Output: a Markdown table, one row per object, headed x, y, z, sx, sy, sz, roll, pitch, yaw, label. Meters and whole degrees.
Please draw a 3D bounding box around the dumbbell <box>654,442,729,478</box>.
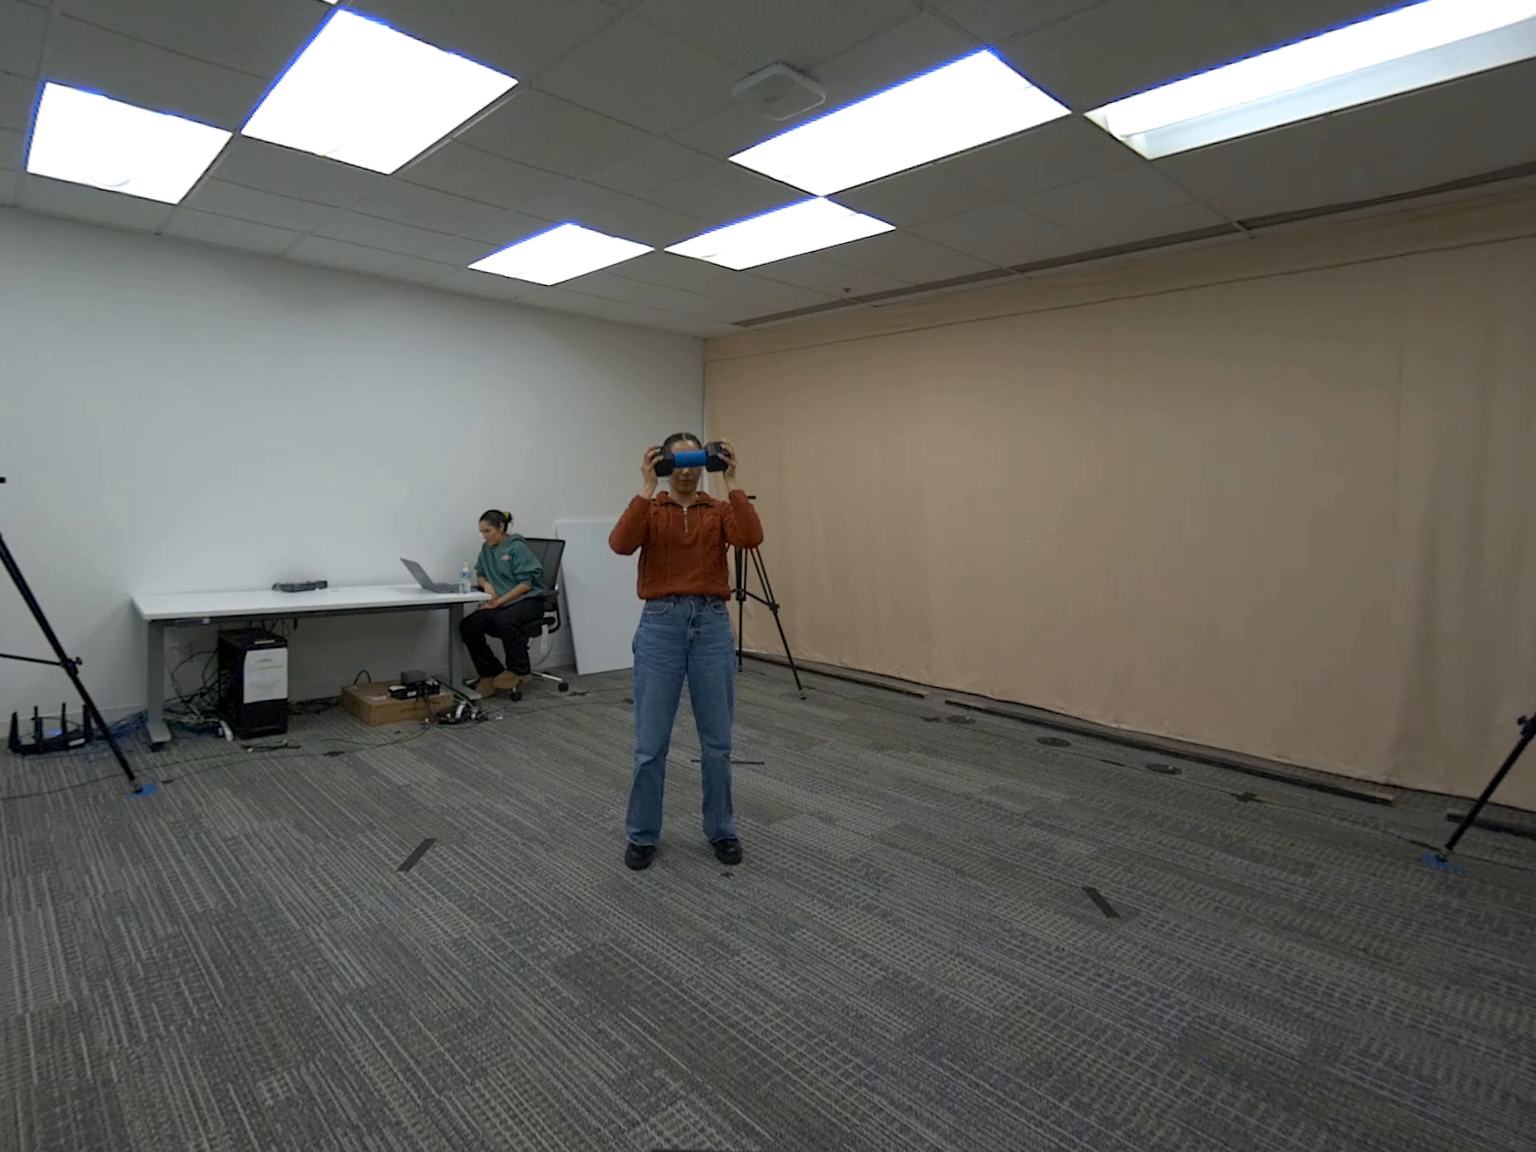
| x | y | z | sx | sy | sz | roll | pitch | yaw | label |
| --- | --- | --- | --- | --- | --- | --- | --- | --- | --- |
| -0.303 | -0.432 | 3.106 | 0.291 | 0.126 | 0.107 | -7 | -31 | -13 | dumbbell |
